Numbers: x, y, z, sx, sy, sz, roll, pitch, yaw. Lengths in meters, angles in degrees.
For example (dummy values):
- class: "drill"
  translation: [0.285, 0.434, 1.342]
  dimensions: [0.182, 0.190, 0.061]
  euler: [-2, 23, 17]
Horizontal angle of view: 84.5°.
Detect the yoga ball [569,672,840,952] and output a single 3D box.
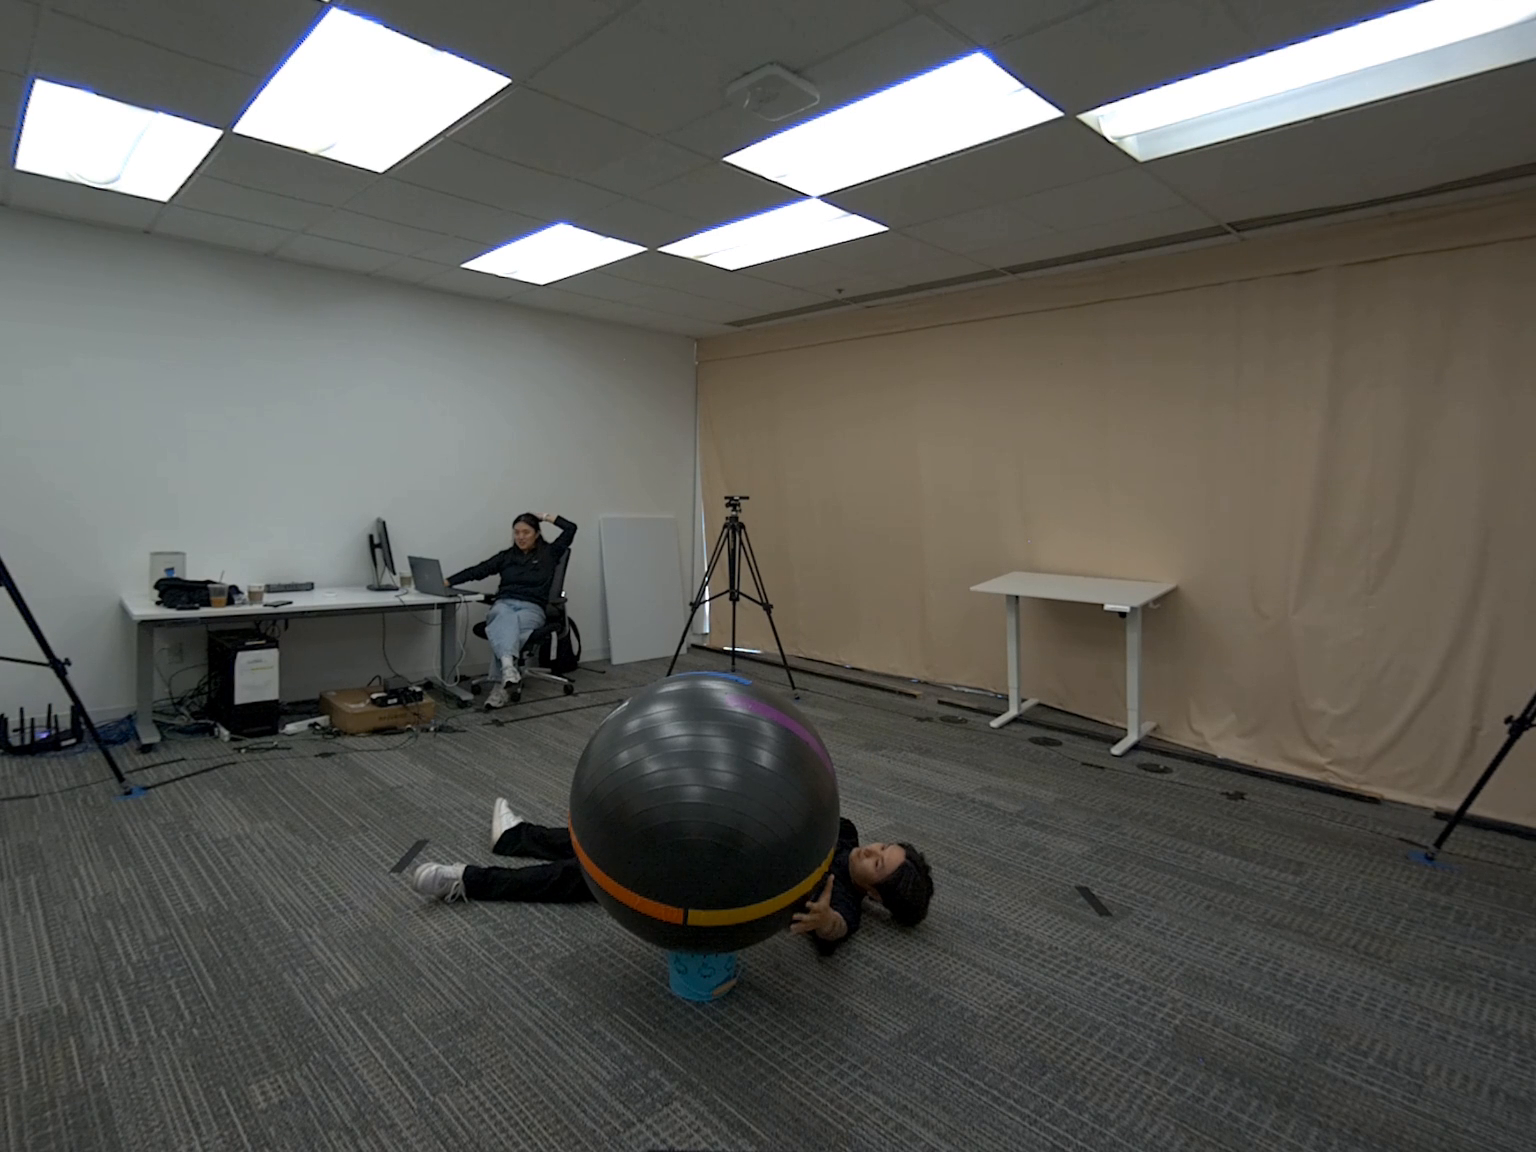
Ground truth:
- class: "yoga ball"
  translation: [-0.185, 0.661, 2.391]
  dimensions: [0.757, 0.756, 0.761]
  euler: [1, 4, -1]
